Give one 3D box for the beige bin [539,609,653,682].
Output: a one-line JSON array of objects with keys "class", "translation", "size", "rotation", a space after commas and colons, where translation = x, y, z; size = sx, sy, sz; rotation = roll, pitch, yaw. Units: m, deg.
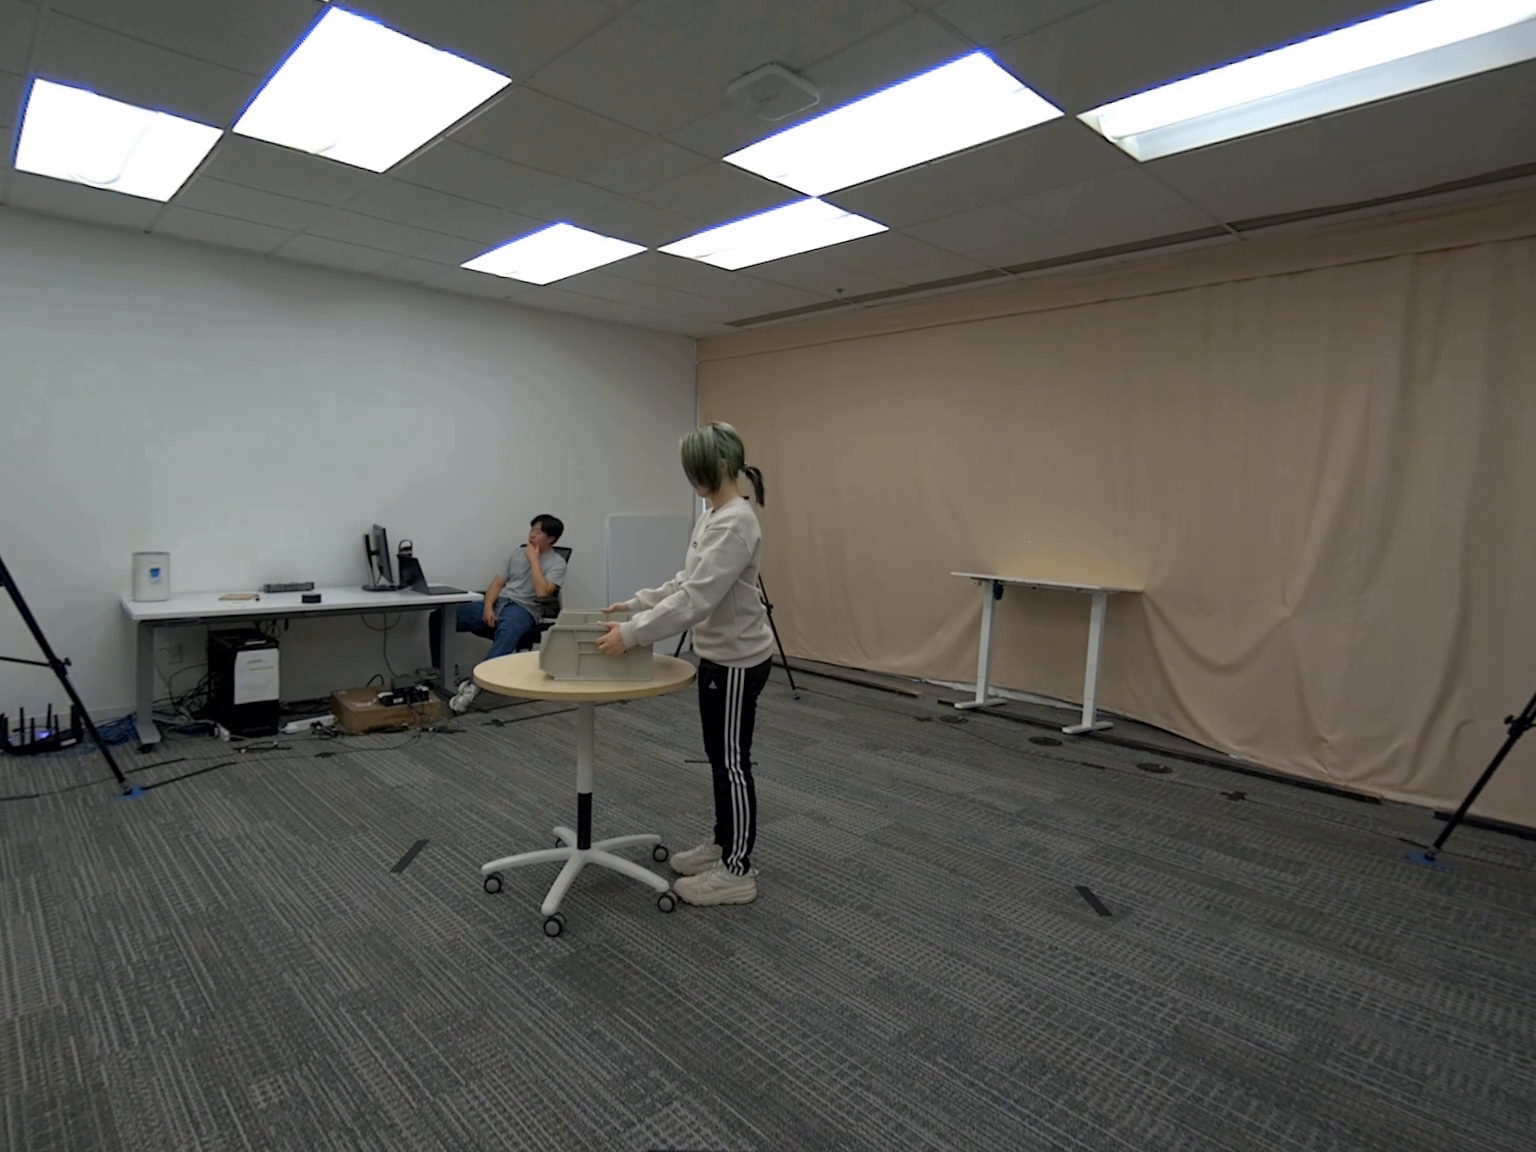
[{"class": "beige bin", "translation": [-0.590, 0.235, 2.945], "size": [0.375, 0.188, 0.426], "rotation": [1, 4, -9]}]
